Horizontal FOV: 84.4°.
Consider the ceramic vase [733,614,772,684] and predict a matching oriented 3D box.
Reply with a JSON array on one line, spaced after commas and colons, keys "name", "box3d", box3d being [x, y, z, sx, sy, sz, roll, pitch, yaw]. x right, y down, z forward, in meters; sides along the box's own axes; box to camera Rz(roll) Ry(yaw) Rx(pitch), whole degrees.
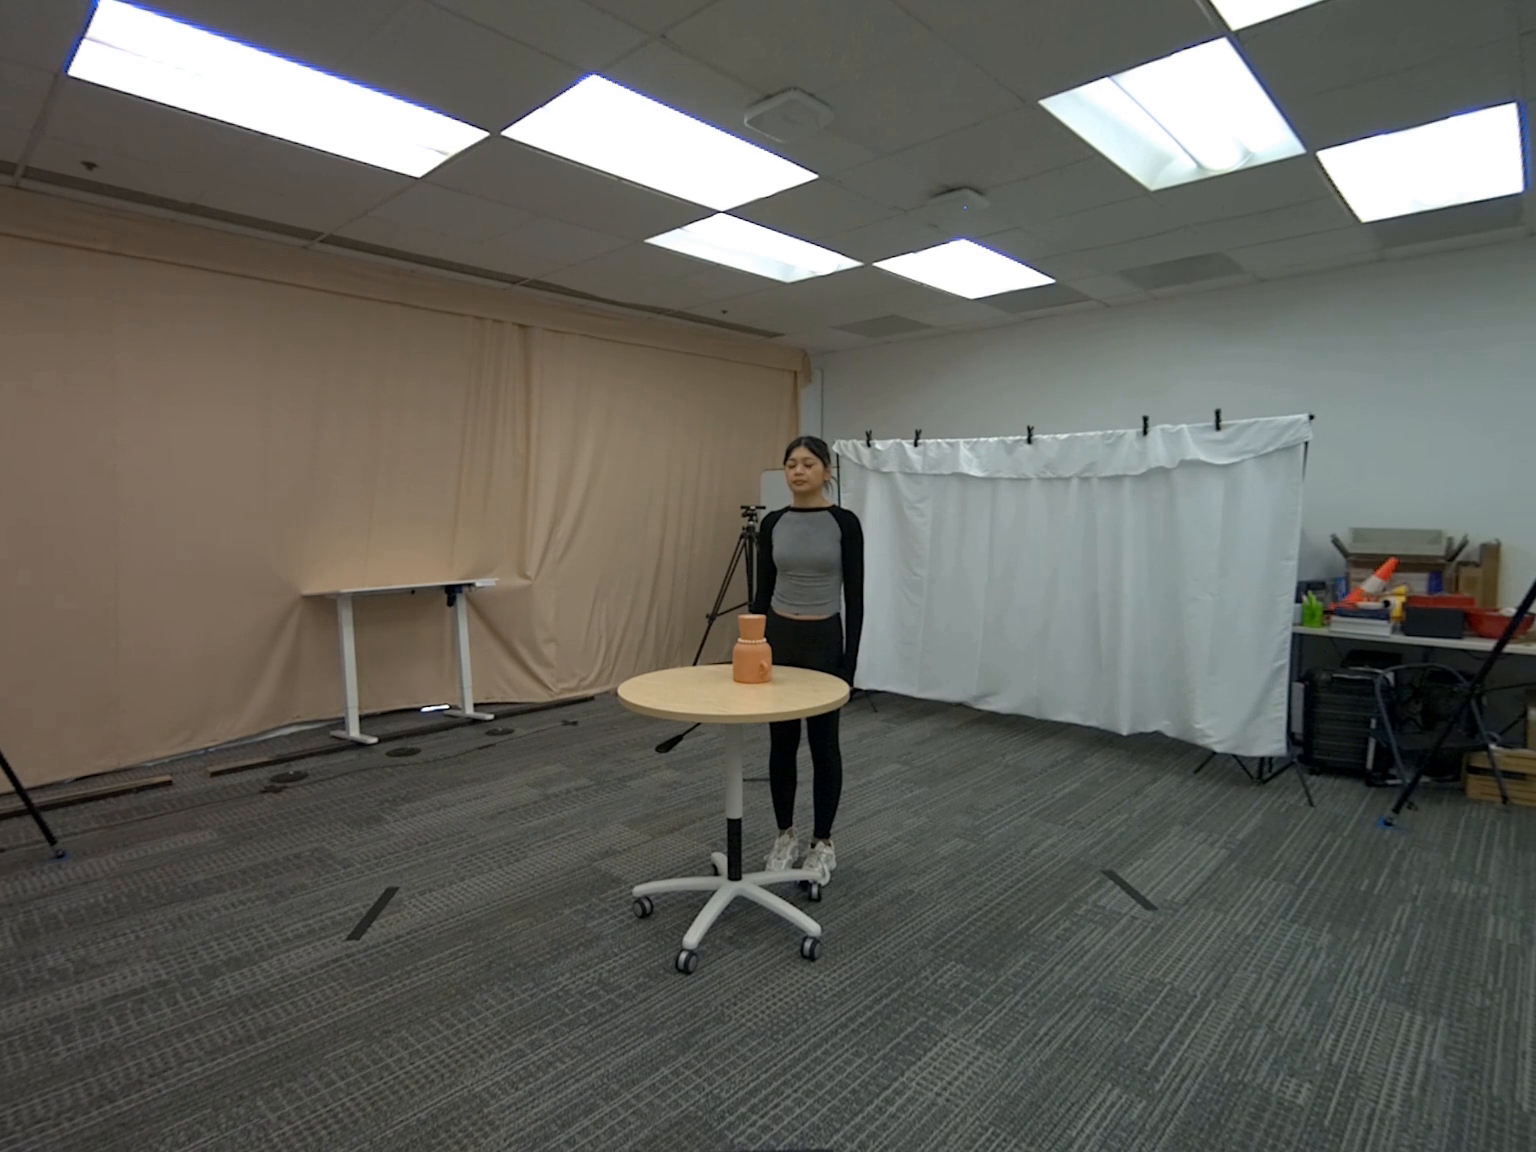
[{"name": "ceramic vase", "box3d": [-0.050, 0.250, 2.888, 0.162, 0.219, 0.132, 2, 4, 20]}]
